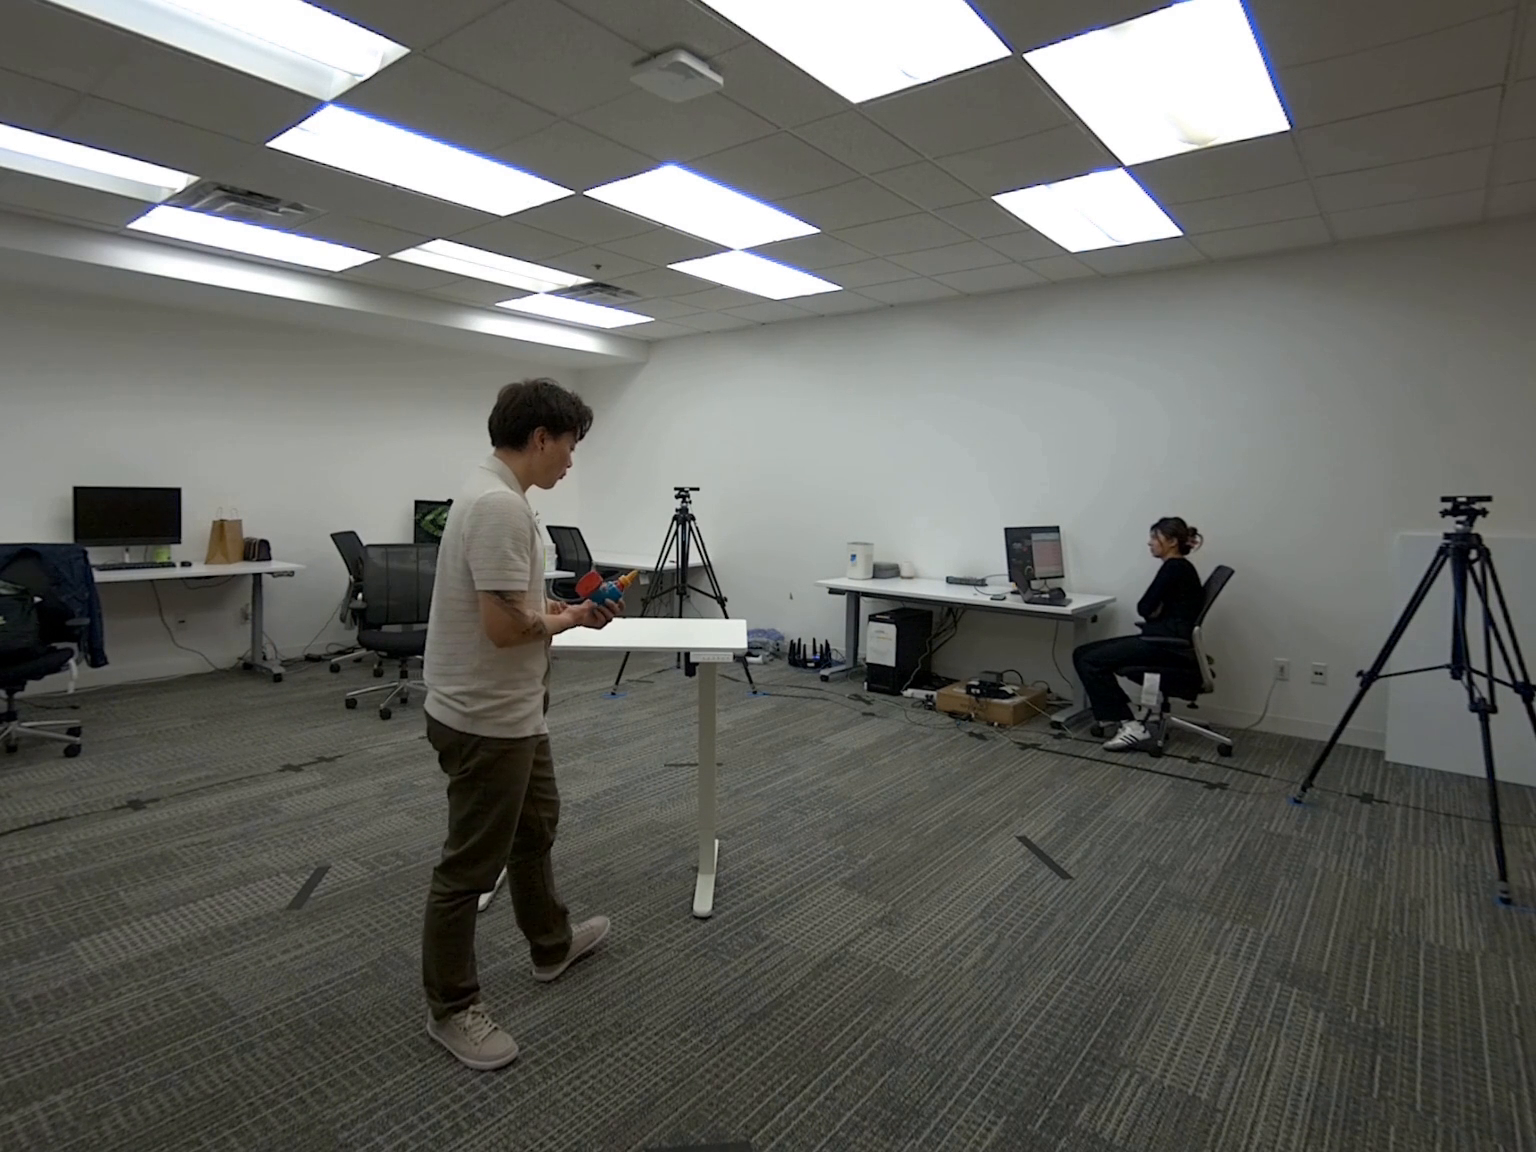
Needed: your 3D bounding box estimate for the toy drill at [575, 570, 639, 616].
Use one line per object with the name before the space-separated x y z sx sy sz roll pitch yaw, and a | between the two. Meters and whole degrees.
toy drill | -0.441 0.025 2.279 0.063 0.169 0.141 47 -8 26
